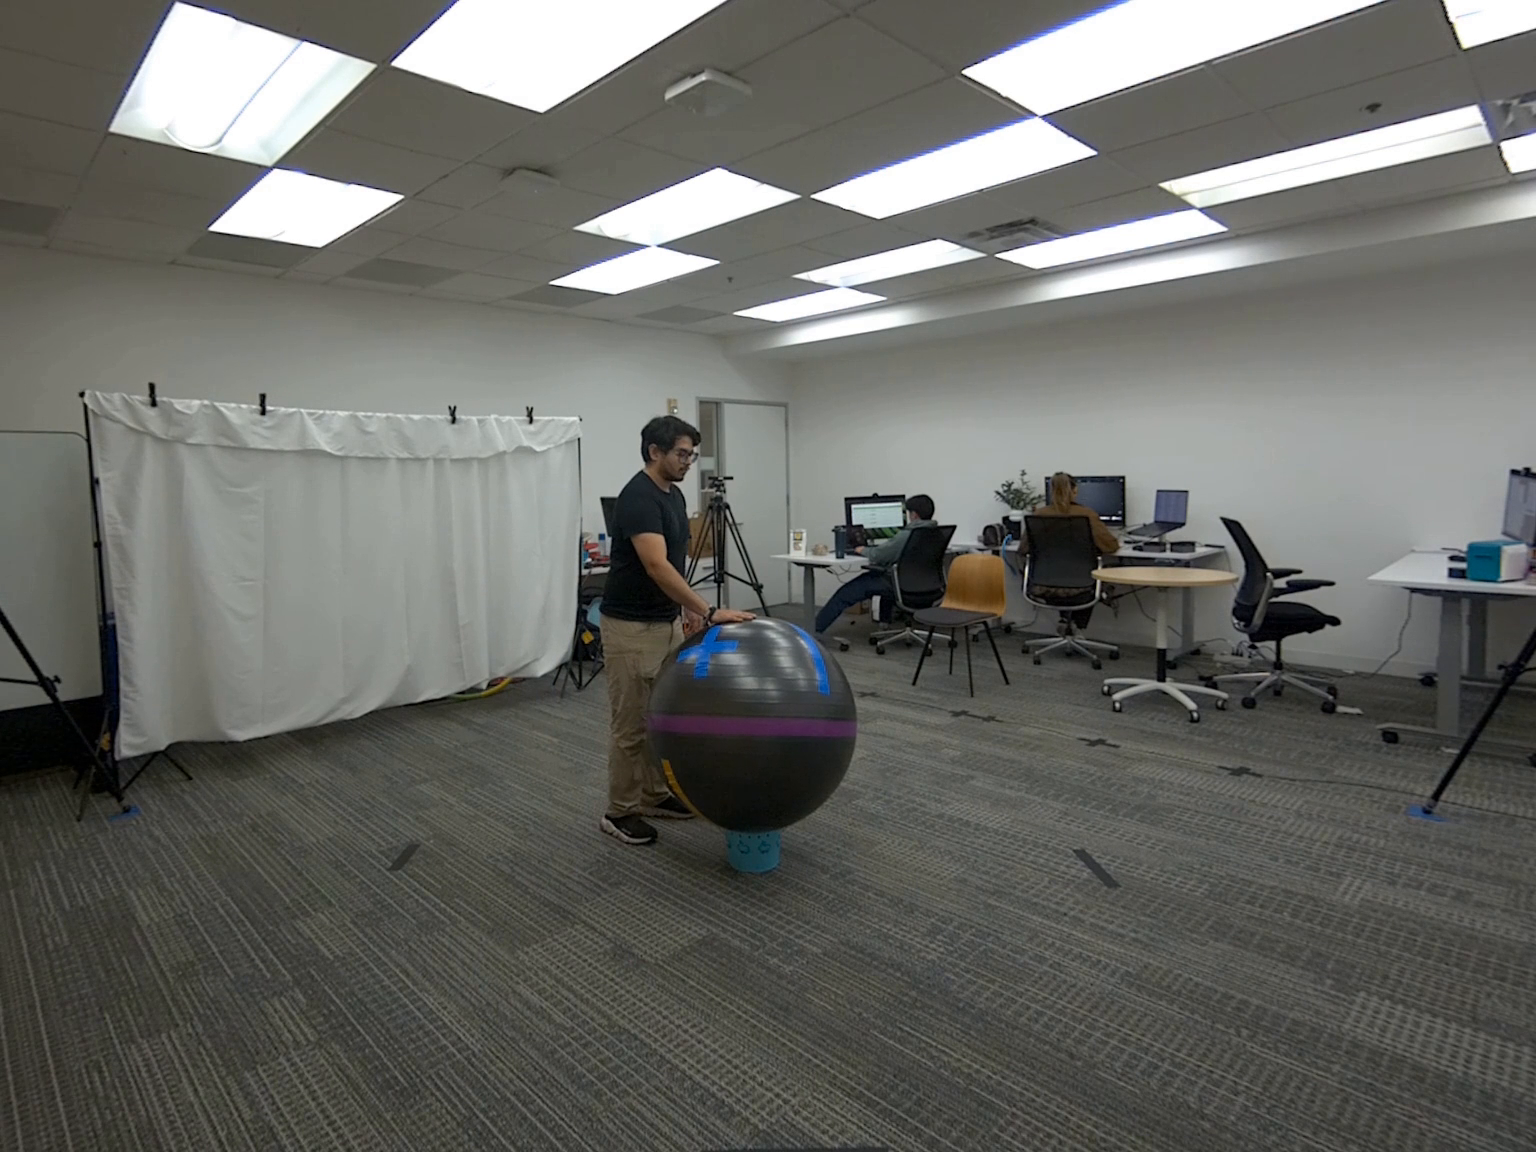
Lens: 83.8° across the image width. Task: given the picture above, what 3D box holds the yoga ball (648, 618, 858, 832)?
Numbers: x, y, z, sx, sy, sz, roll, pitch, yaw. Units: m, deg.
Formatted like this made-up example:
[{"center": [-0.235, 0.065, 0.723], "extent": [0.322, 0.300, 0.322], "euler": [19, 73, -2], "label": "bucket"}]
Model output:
[{"center": [-0.058, 0.528, 3.095], "extent": [0.757, 0.755, 0.762], "euler": [-1, 5, -2], "label": "yoga ball"}]
